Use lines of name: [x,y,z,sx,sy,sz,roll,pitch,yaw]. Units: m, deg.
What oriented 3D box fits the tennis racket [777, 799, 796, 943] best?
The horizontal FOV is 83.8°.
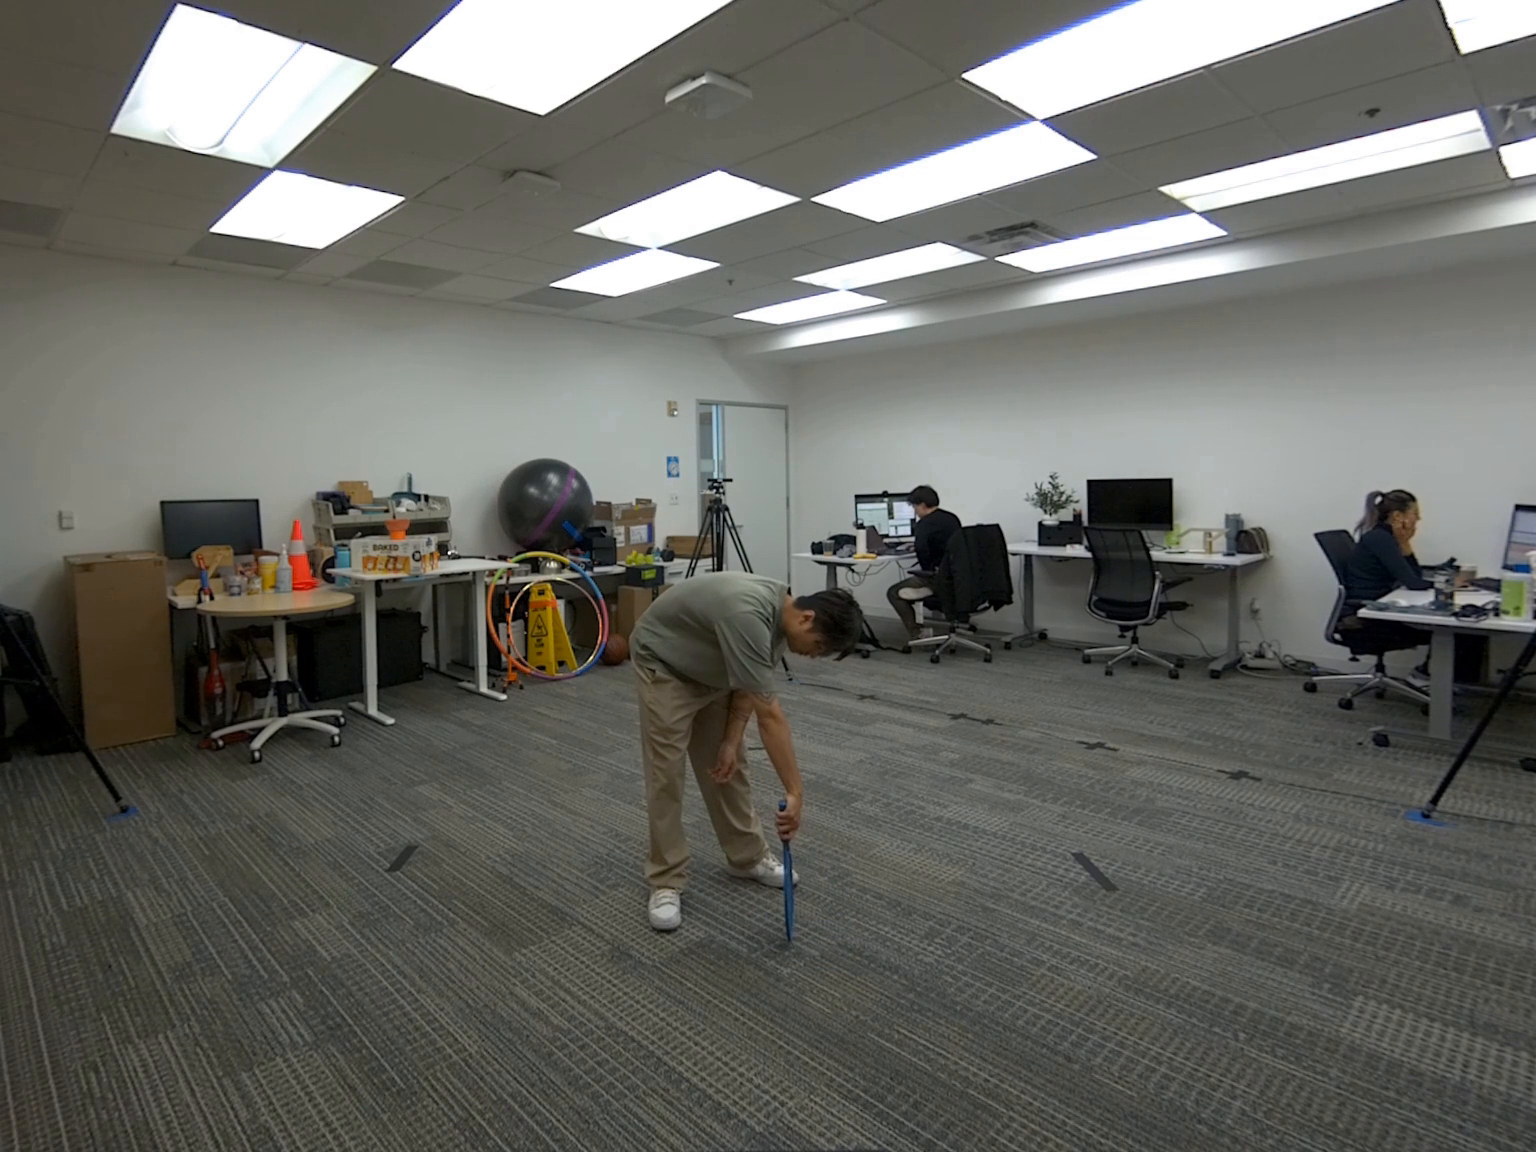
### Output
tennis racket: [0.063,0.887,2.552,0.032,0.429,0.214,-3,10,9]
